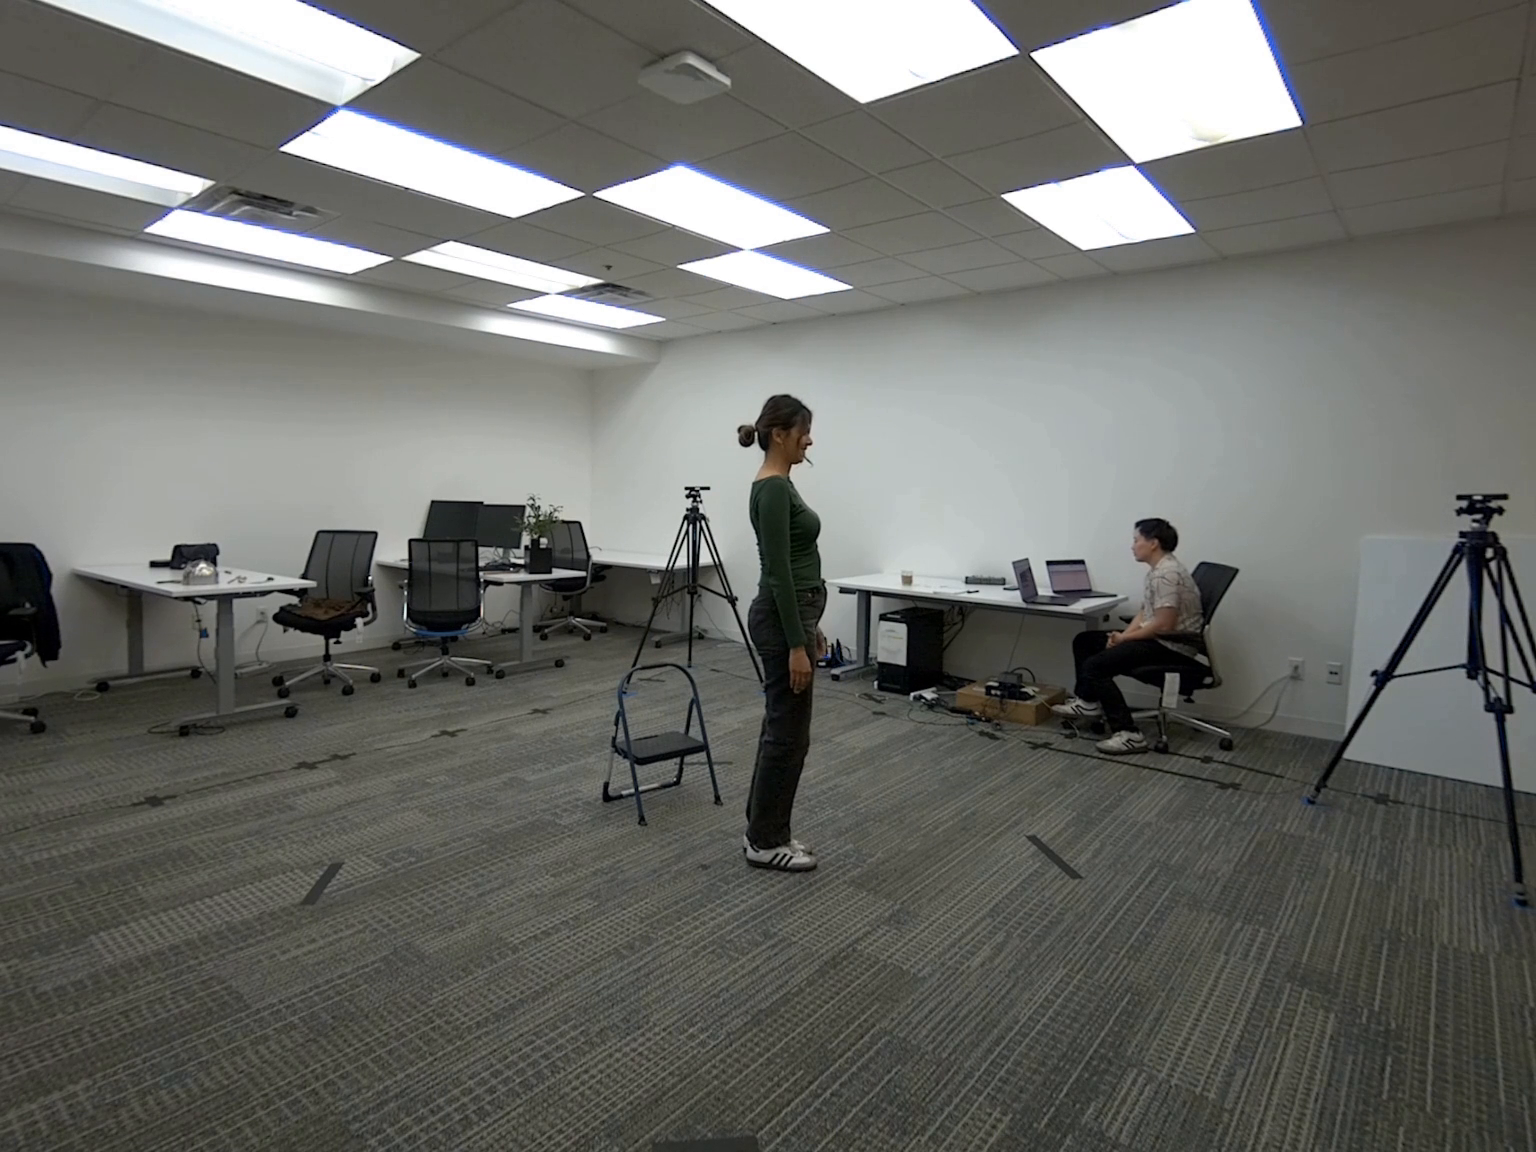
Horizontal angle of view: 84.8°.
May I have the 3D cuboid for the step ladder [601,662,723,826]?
[{"bbox_3d":[-0.475,0.696,3.739,0.418,0.604,0.361,-2,4,-40],"label":"step ladder"}]
